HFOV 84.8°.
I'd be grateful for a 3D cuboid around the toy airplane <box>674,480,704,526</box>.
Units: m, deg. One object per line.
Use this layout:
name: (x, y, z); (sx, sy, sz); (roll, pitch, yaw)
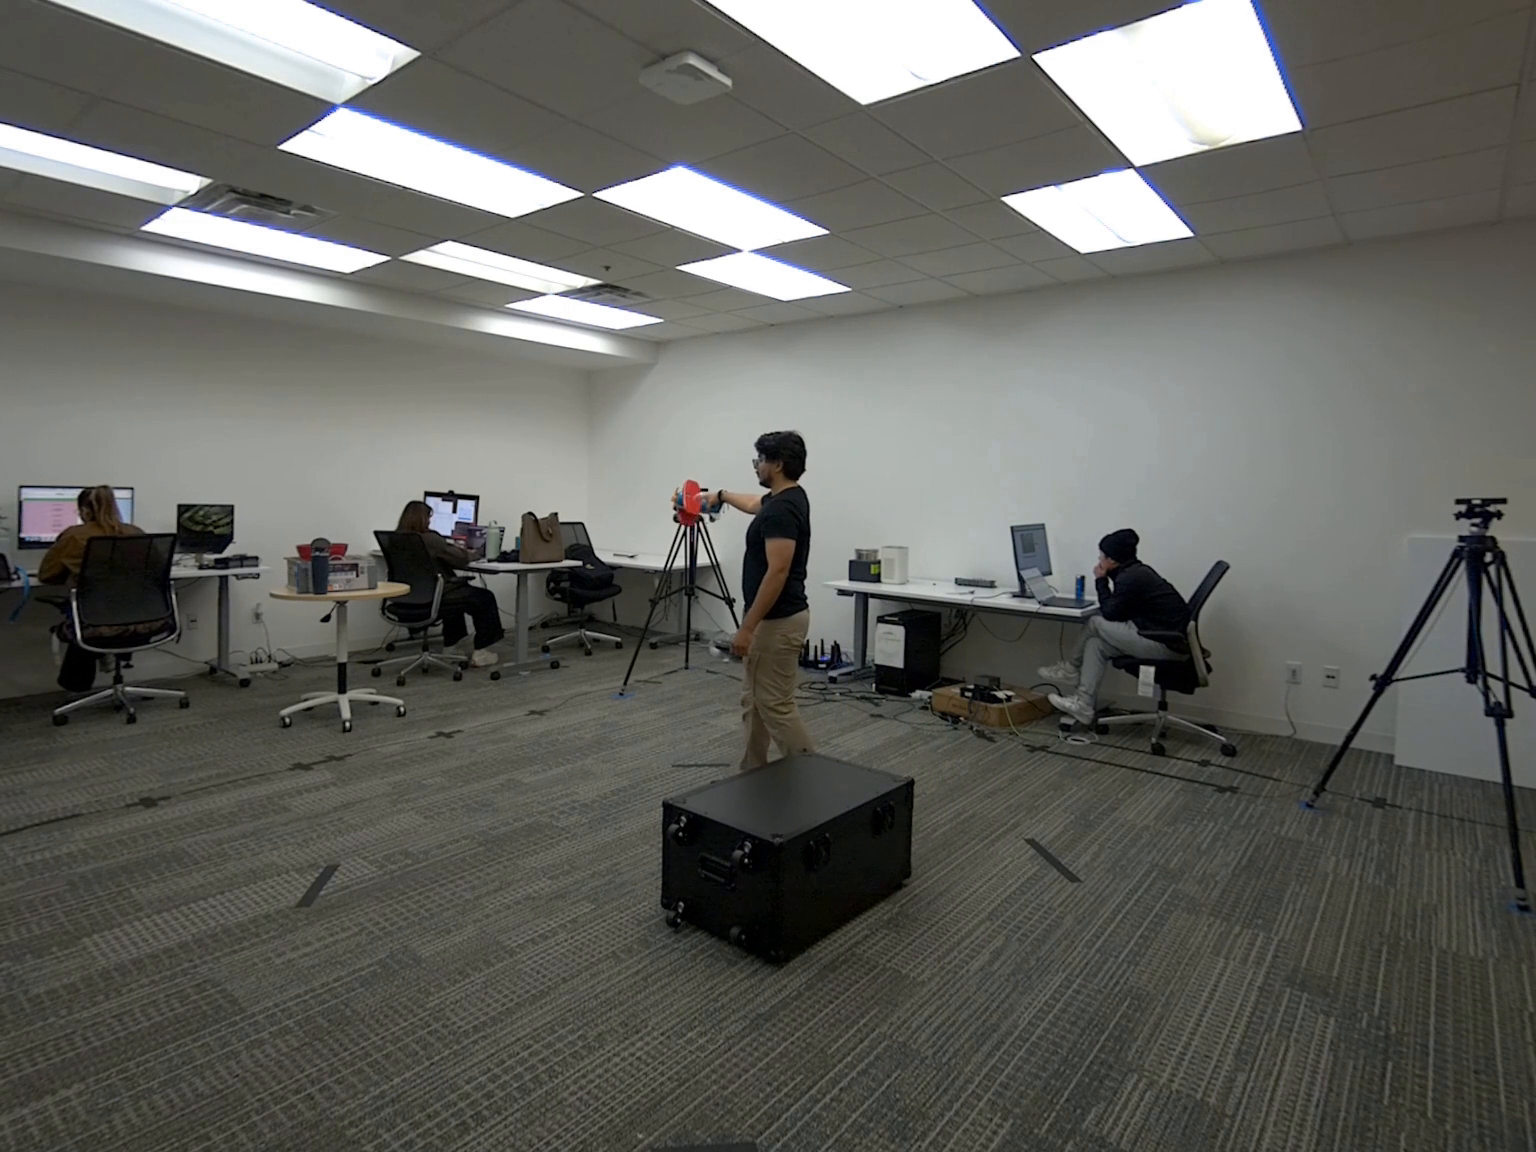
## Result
toy airplane: (-0.380, -0.374, 4.316); (0.255, 0.153, 0.261); (-18, 52, -27)
